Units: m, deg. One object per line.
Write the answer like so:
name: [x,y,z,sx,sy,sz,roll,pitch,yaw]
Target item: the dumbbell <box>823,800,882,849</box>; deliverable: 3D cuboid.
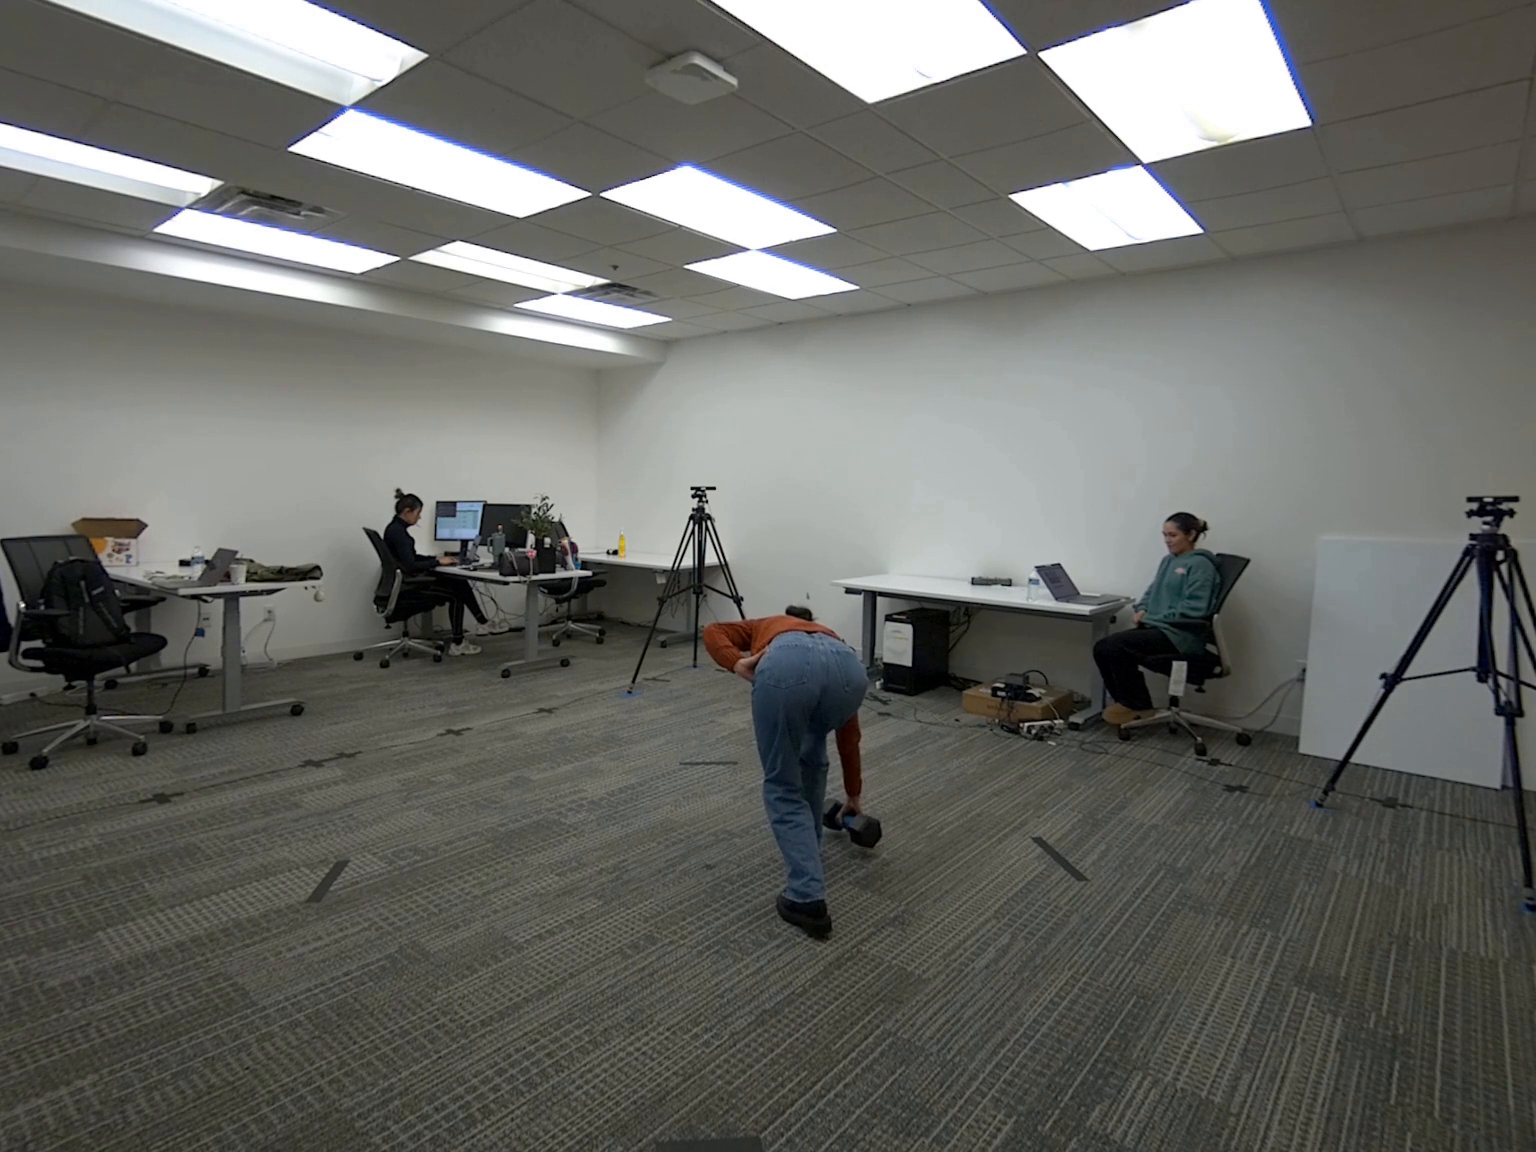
dumbbell: [0.311,0.966,3.340,0.107,0.122,0.301,-17,9,-27]
